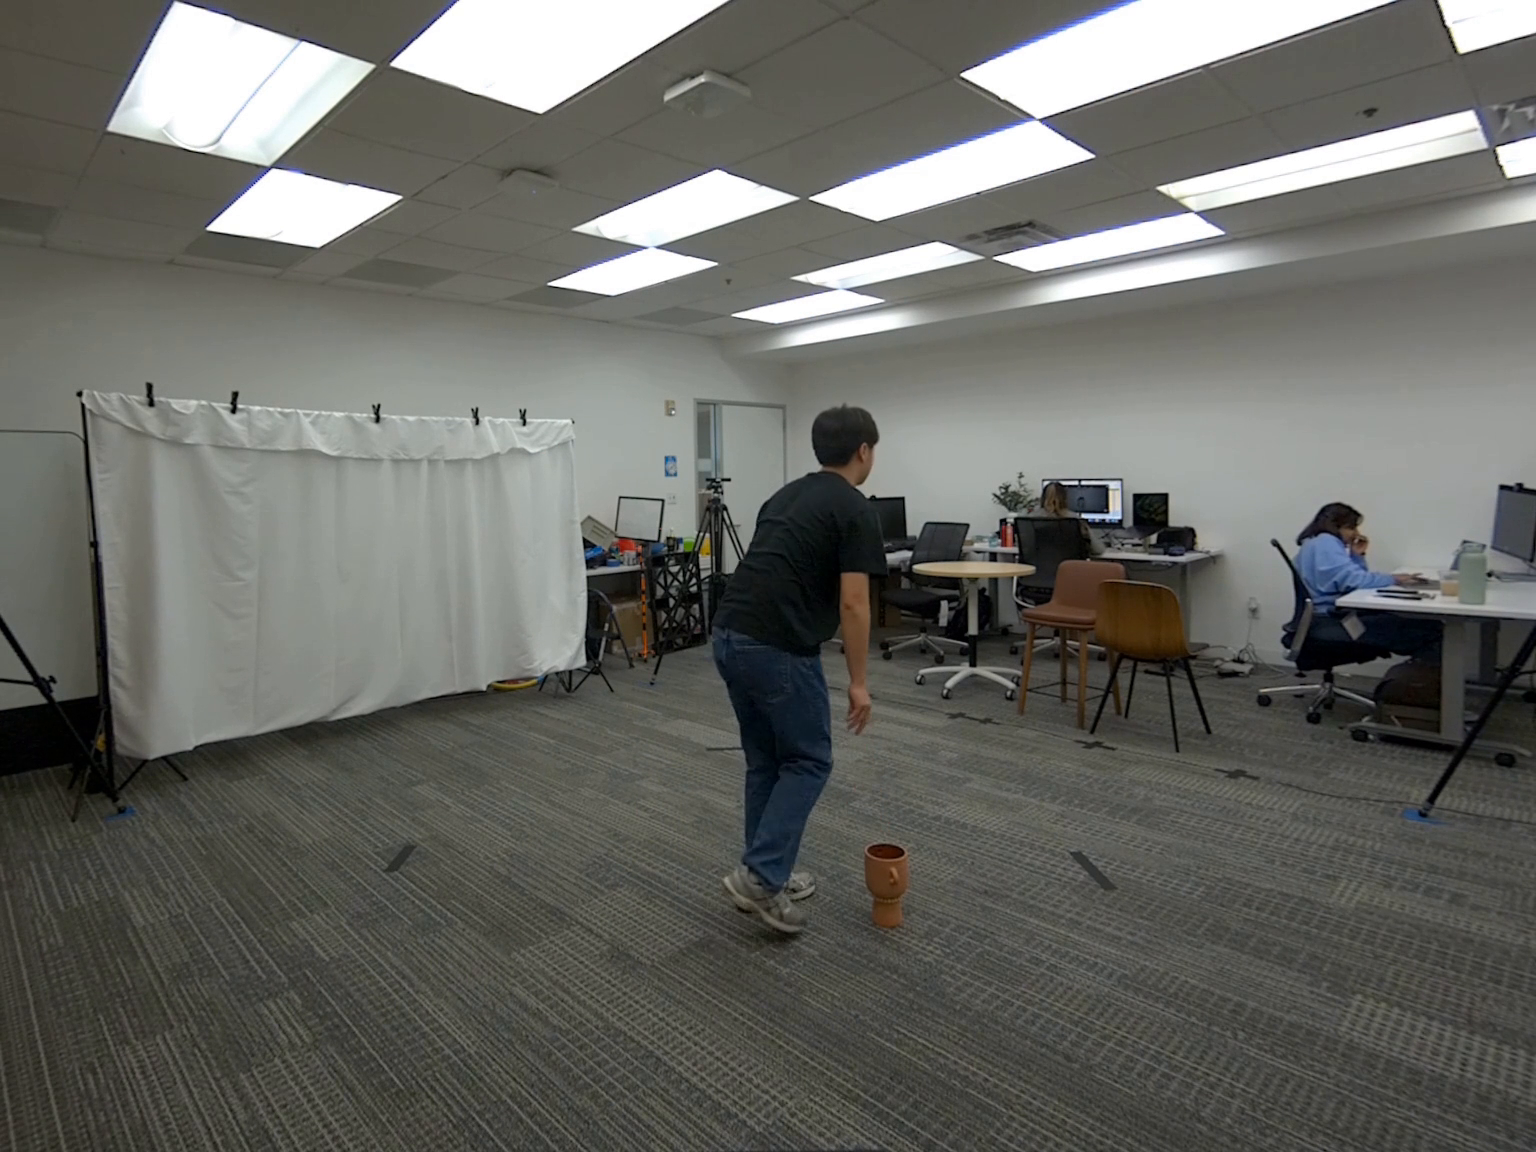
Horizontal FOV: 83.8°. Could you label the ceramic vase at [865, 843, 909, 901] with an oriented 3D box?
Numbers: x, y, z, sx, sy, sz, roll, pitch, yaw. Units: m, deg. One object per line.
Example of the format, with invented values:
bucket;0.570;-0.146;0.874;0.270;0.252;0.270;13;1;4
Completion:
ceramic vase;0.378;0.968;2.682;0.163;0.219;0.131;2;4;31
